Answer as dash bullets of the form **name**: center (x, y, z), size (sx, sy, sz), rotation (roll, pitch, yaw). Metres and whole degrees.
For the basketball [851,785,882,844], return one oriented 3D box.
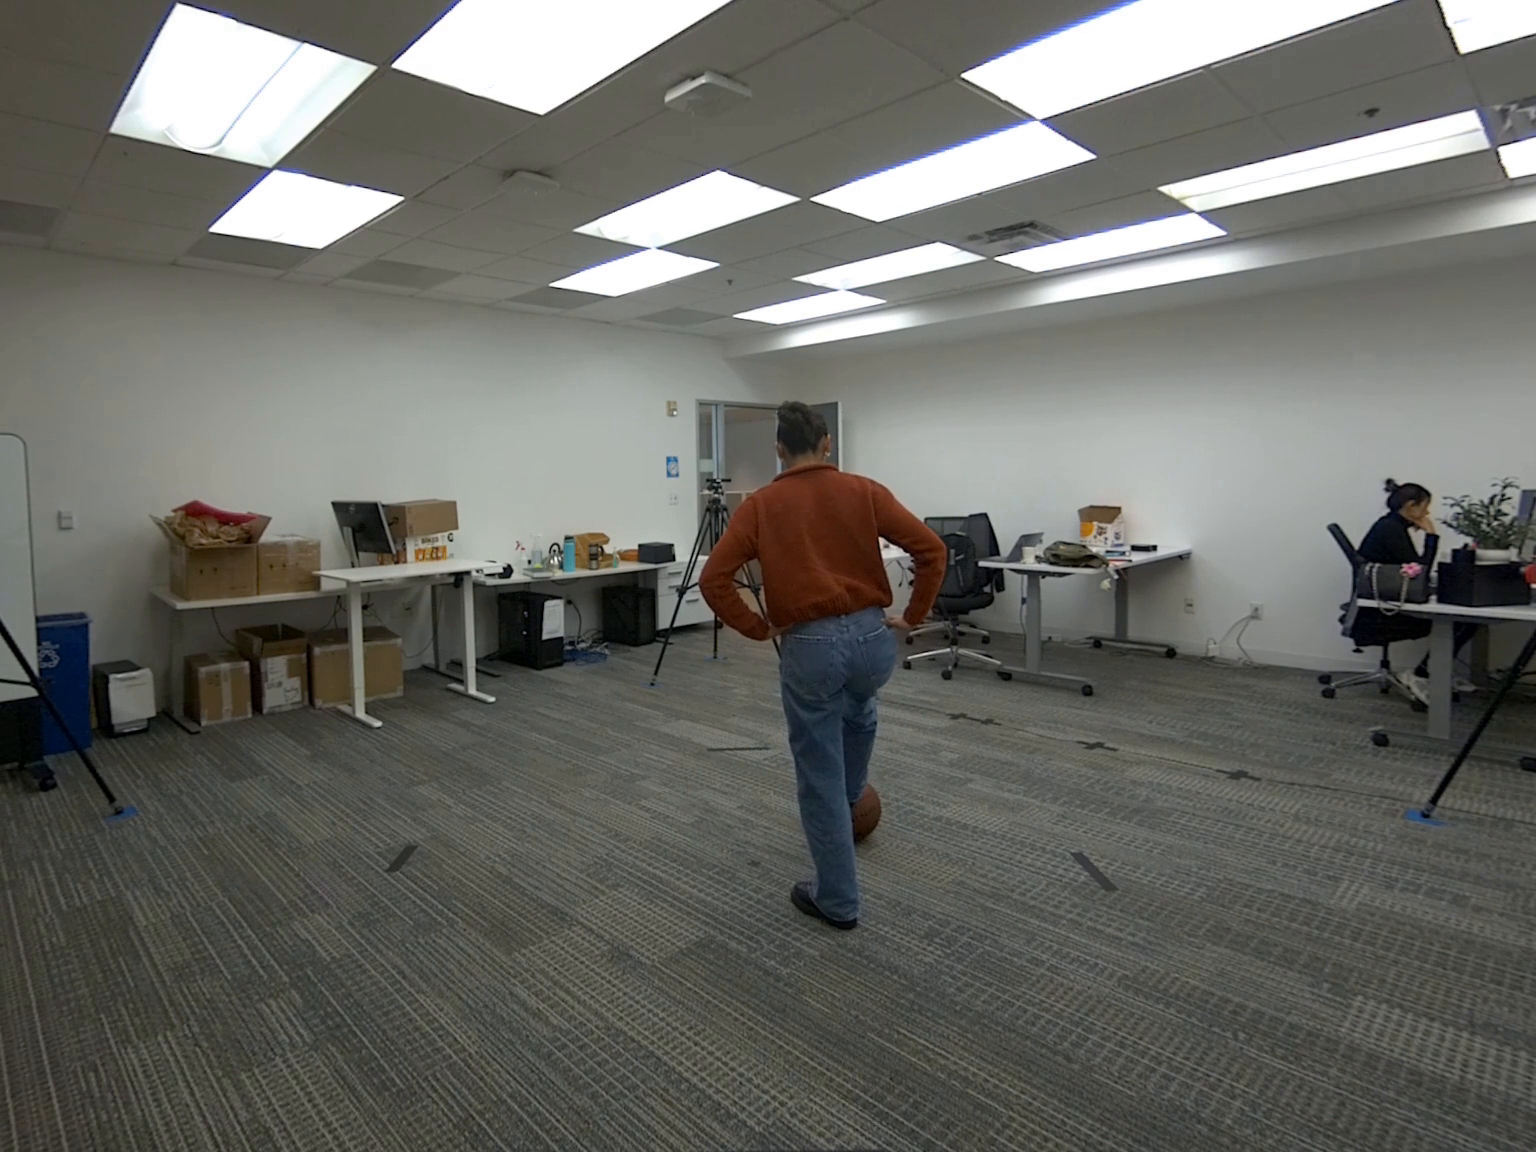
- **basketball**: center (0.326, 0.900, 3.306), size (0.236, 0.235, 0.237), rotation (-1, 5, -2)
